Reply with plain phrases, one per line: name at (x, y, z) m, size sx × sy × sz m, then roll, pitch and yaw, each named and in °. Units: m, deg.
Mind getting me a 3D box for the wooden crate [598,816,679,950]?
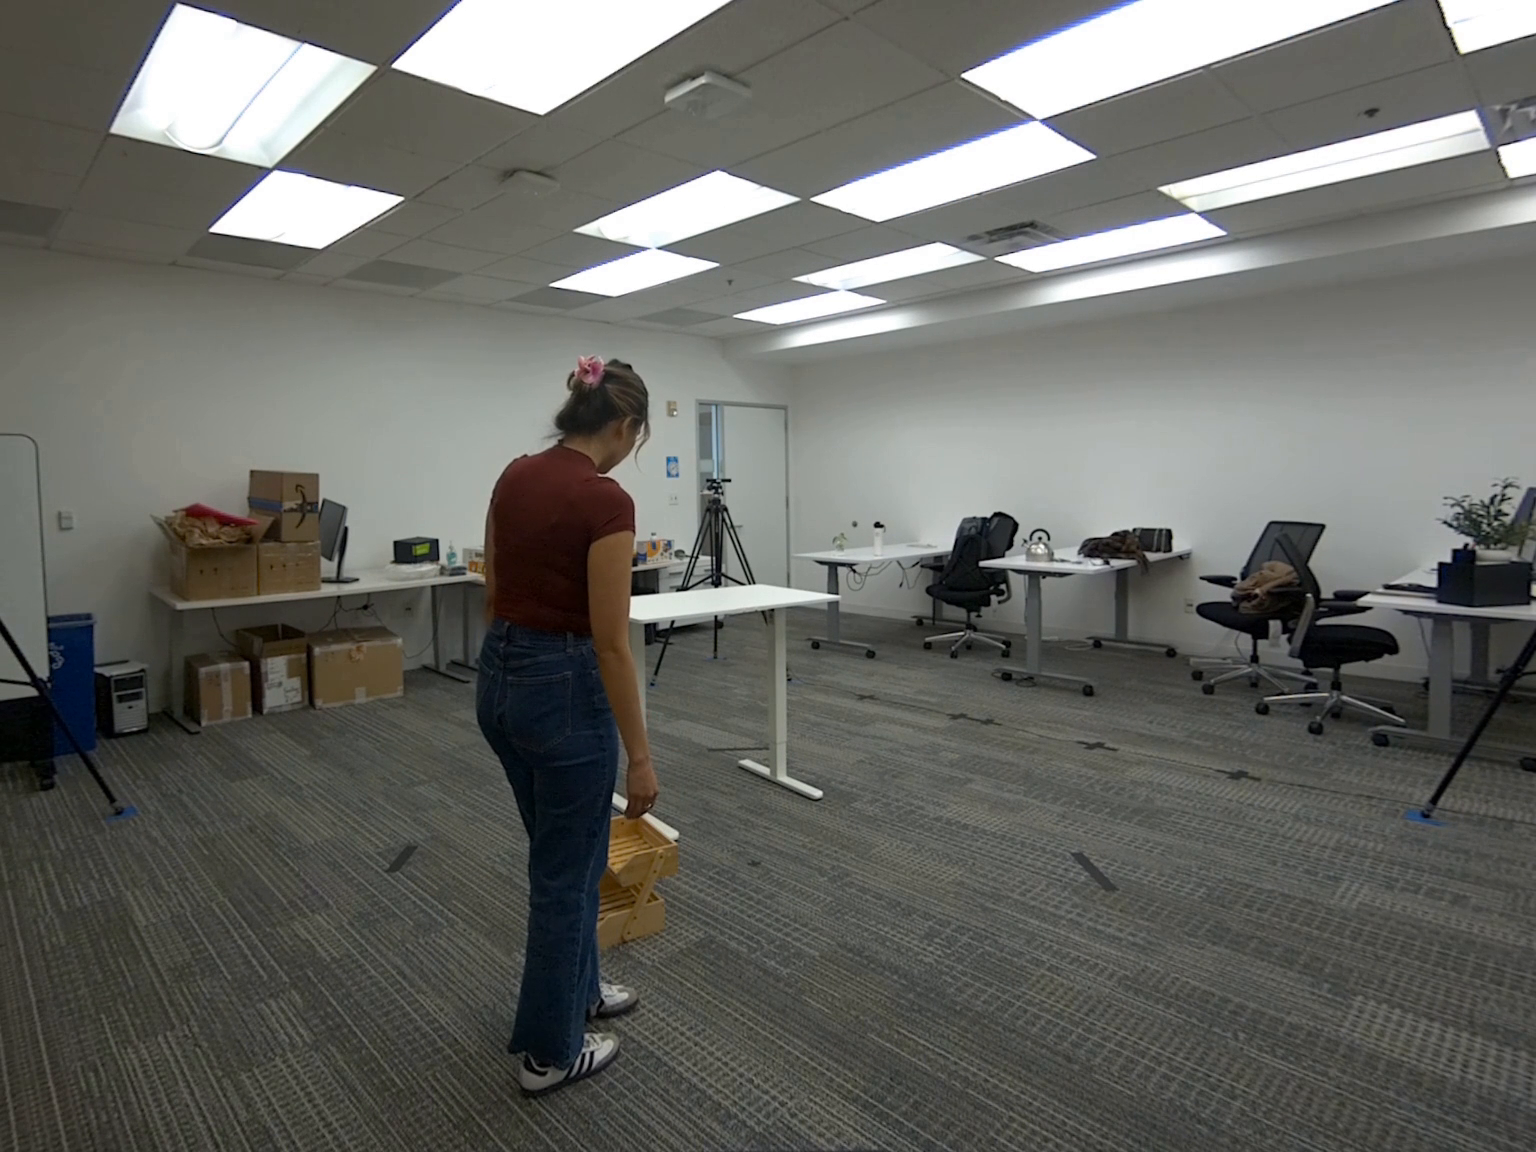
wooden crate at (-0.484, 0.964, 2.735) m, size 0.295 × 0.272 × 0.334 m, roll -4°, pitch 6°, yaw -31°
